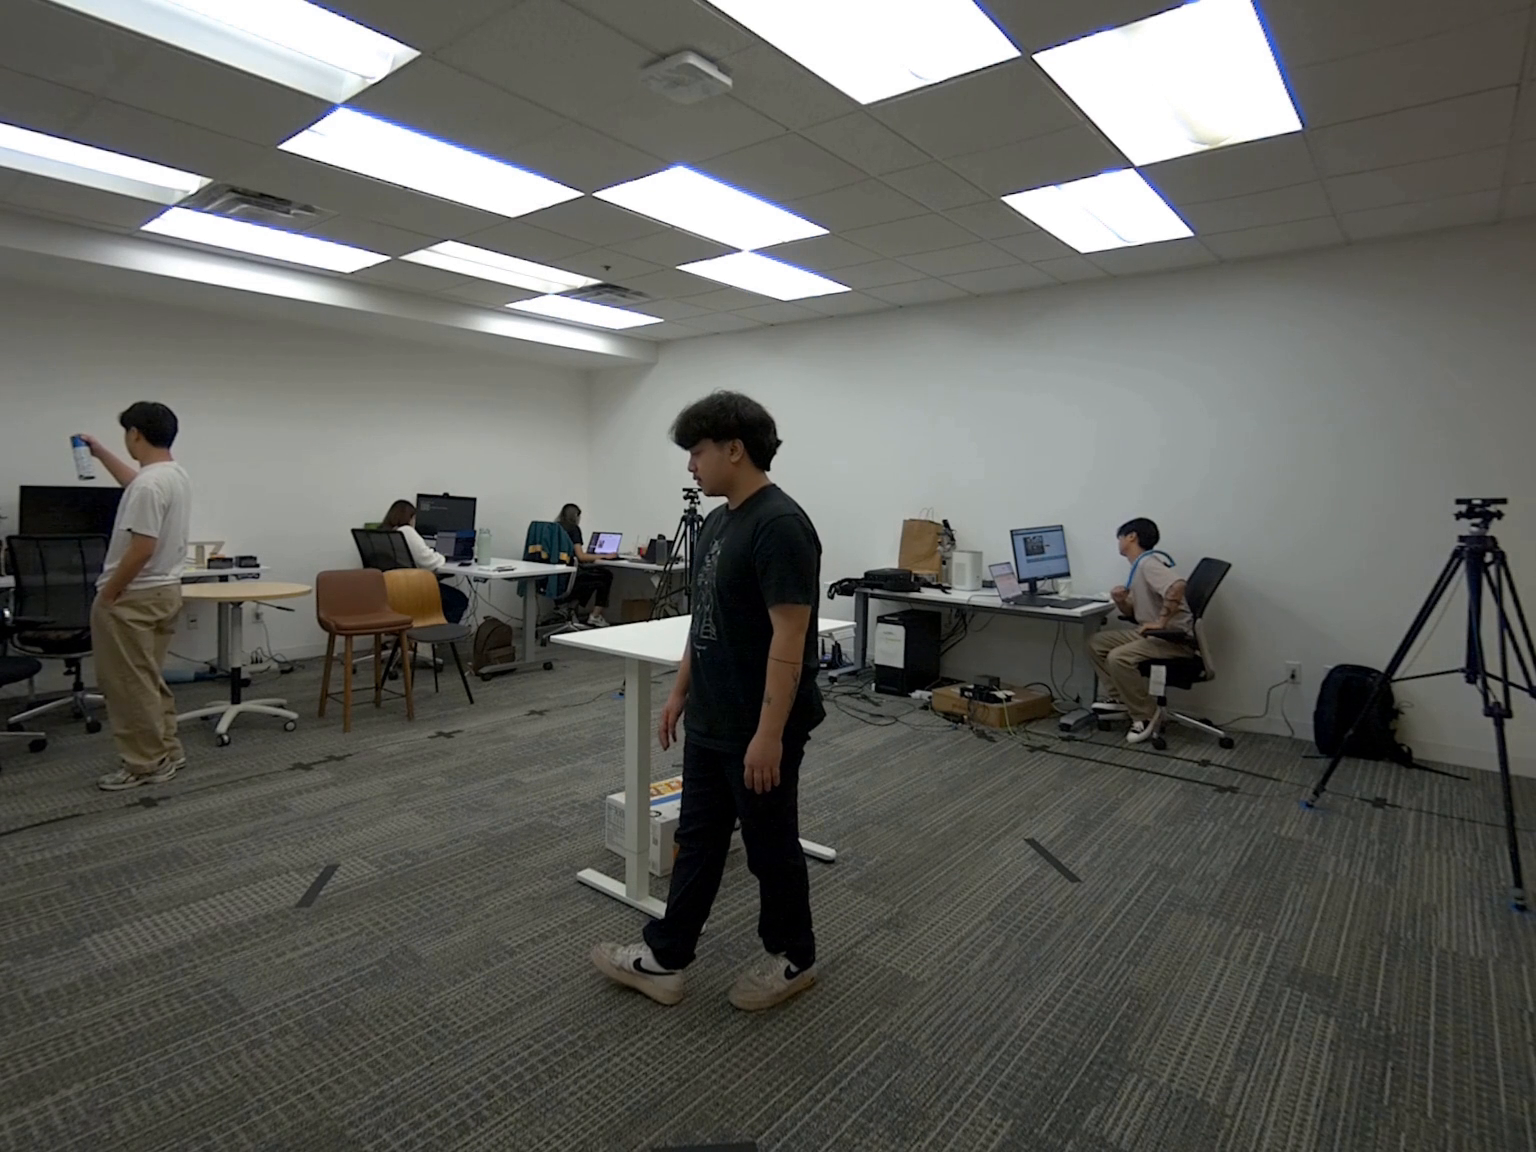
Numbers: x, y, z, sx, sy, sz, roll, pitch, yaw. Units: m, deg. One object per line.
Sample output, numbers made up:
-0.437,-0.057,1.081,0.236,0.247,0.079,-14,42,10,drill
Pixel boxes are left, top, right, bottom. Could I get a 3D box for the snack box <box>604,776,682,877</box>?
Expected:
-0.374,0.950,3.279,0.393,0.205,0.352,-3,7,-45,snack box
